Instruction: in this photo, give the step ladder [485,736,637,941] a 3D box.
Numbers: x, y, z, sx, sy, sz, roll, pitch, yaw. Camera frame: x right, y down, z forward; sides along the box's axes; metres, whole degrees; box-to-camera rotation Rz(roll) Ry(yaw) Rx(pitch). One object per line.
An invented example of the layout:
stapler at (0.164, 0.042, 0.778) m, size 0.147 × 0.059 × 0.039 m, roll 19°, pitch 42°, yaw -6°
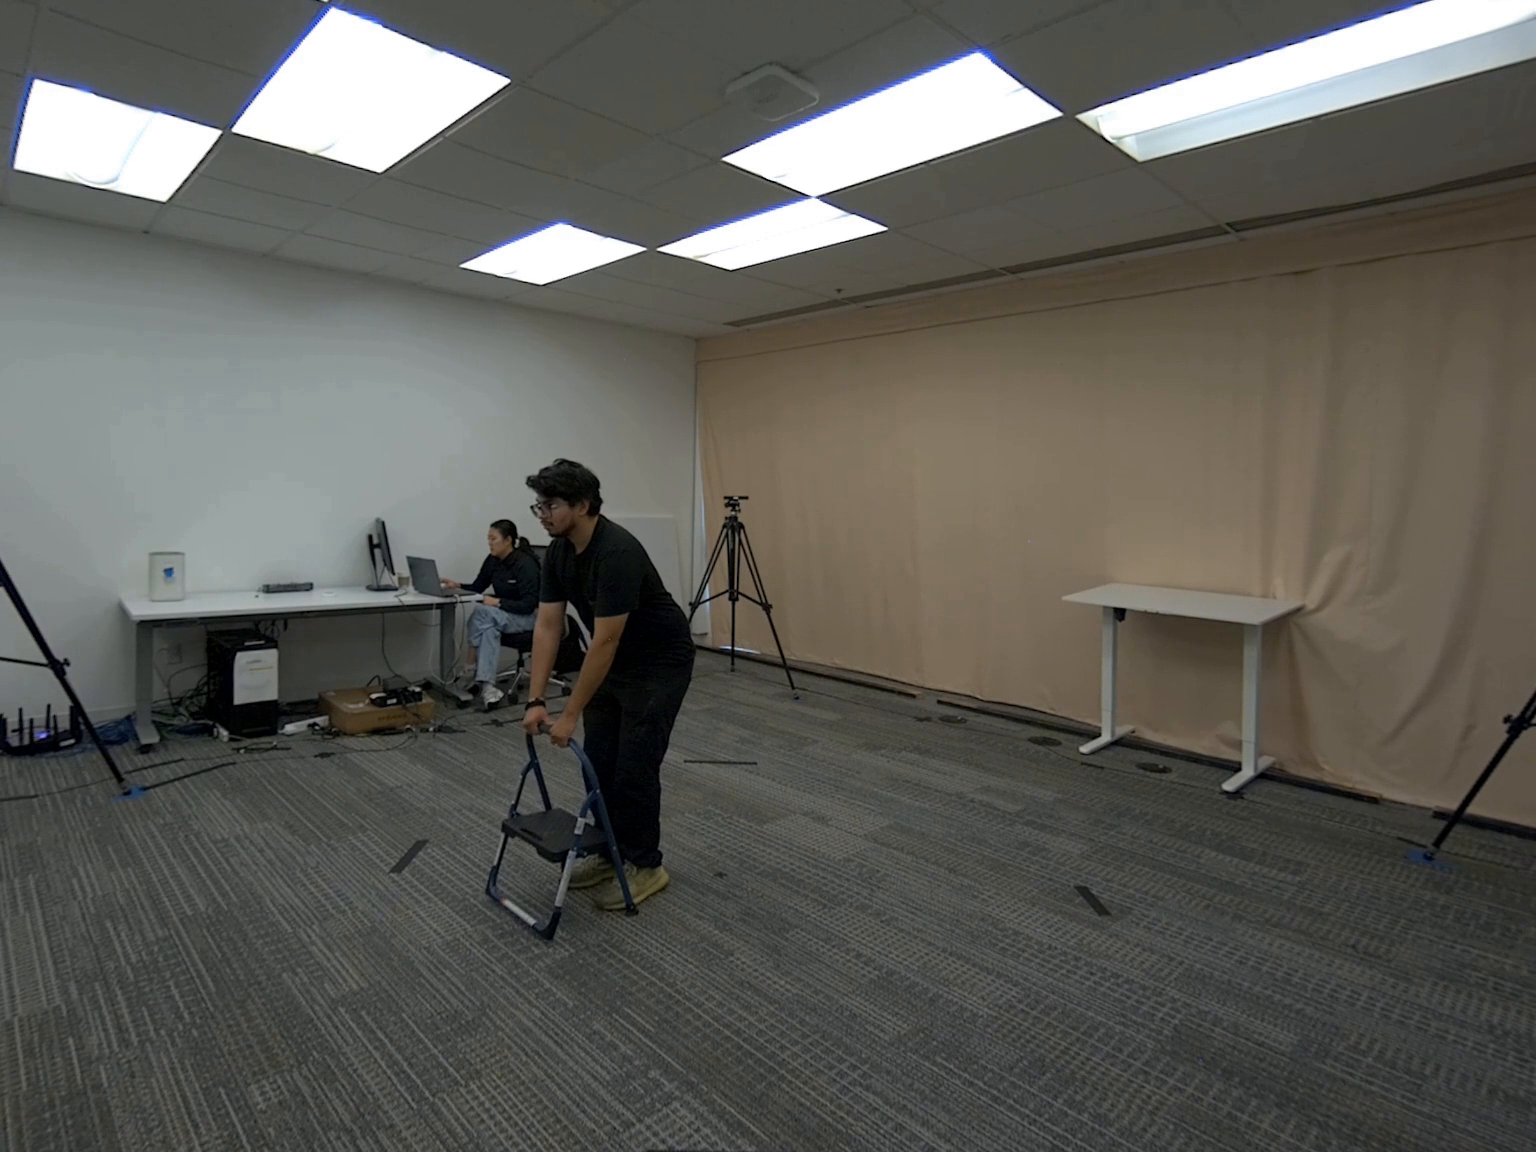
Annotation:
step ladder at (-0.693, 0.807, 2.831) m, size 0.441 × 0.605 × 0.341 m, roll 4°, pitch 2°, yaw 45°
